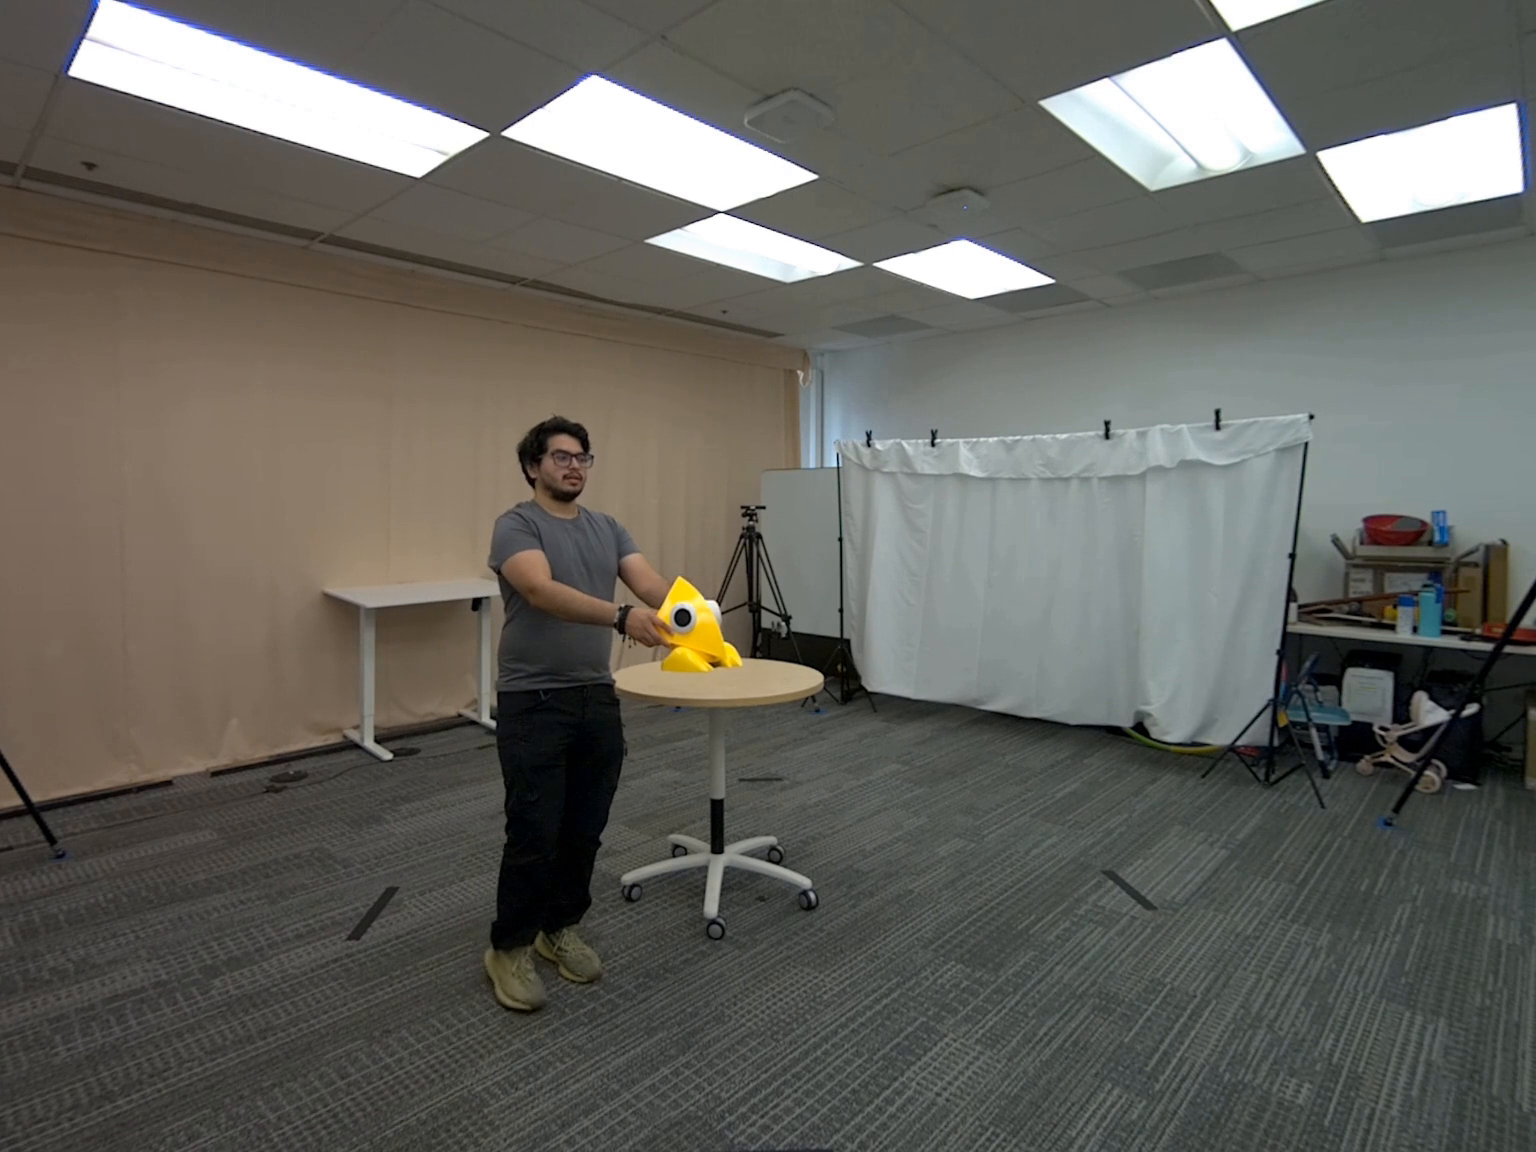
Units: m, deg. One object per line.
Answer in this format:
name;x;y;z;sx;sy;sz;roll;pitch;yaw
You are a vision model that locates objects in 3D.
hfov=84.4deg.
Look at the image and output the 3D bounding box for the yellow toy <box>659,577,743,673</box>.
yellow toy;-0.176;0.119;2.128;0.199;0.231;0.198;-2;-1;41
